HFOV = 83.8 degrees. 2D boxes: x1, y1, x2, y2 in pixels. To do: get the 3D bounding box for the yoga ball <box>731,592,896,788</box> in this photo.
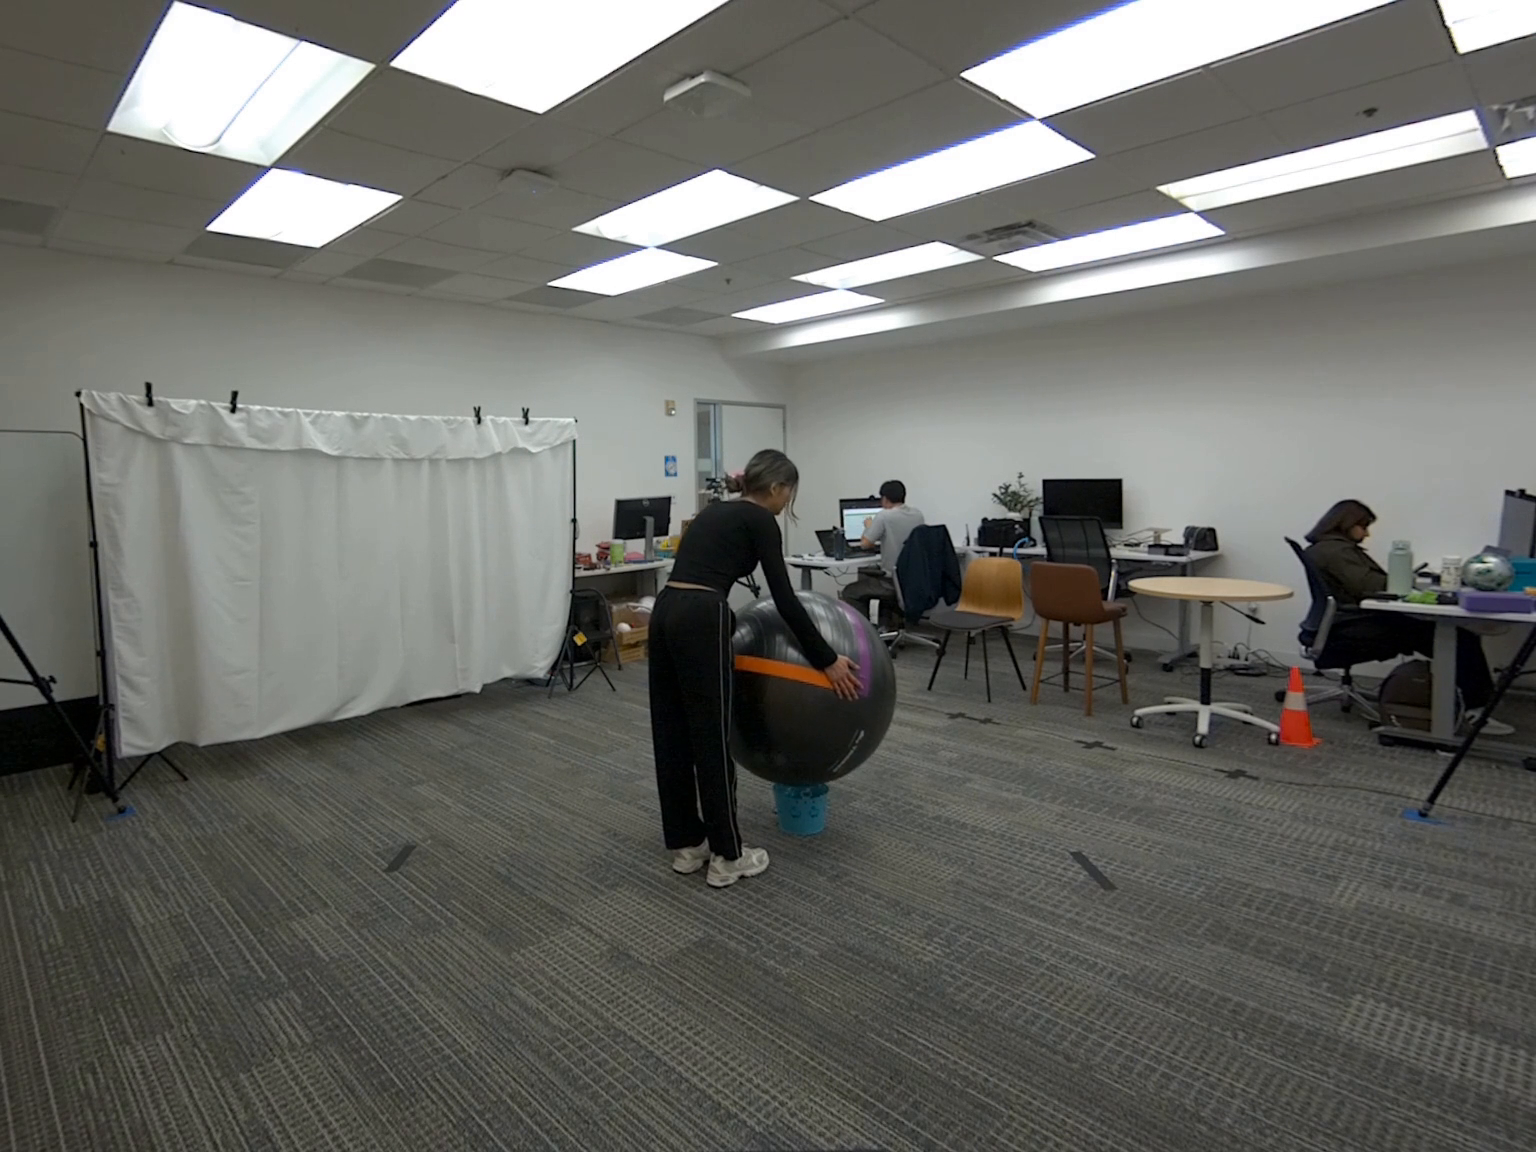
[{"bbox_3d":[0.123,0.427,3.364,0.757,0.755,0.762,-1,5,-2],"label":"yoga ball"}]
